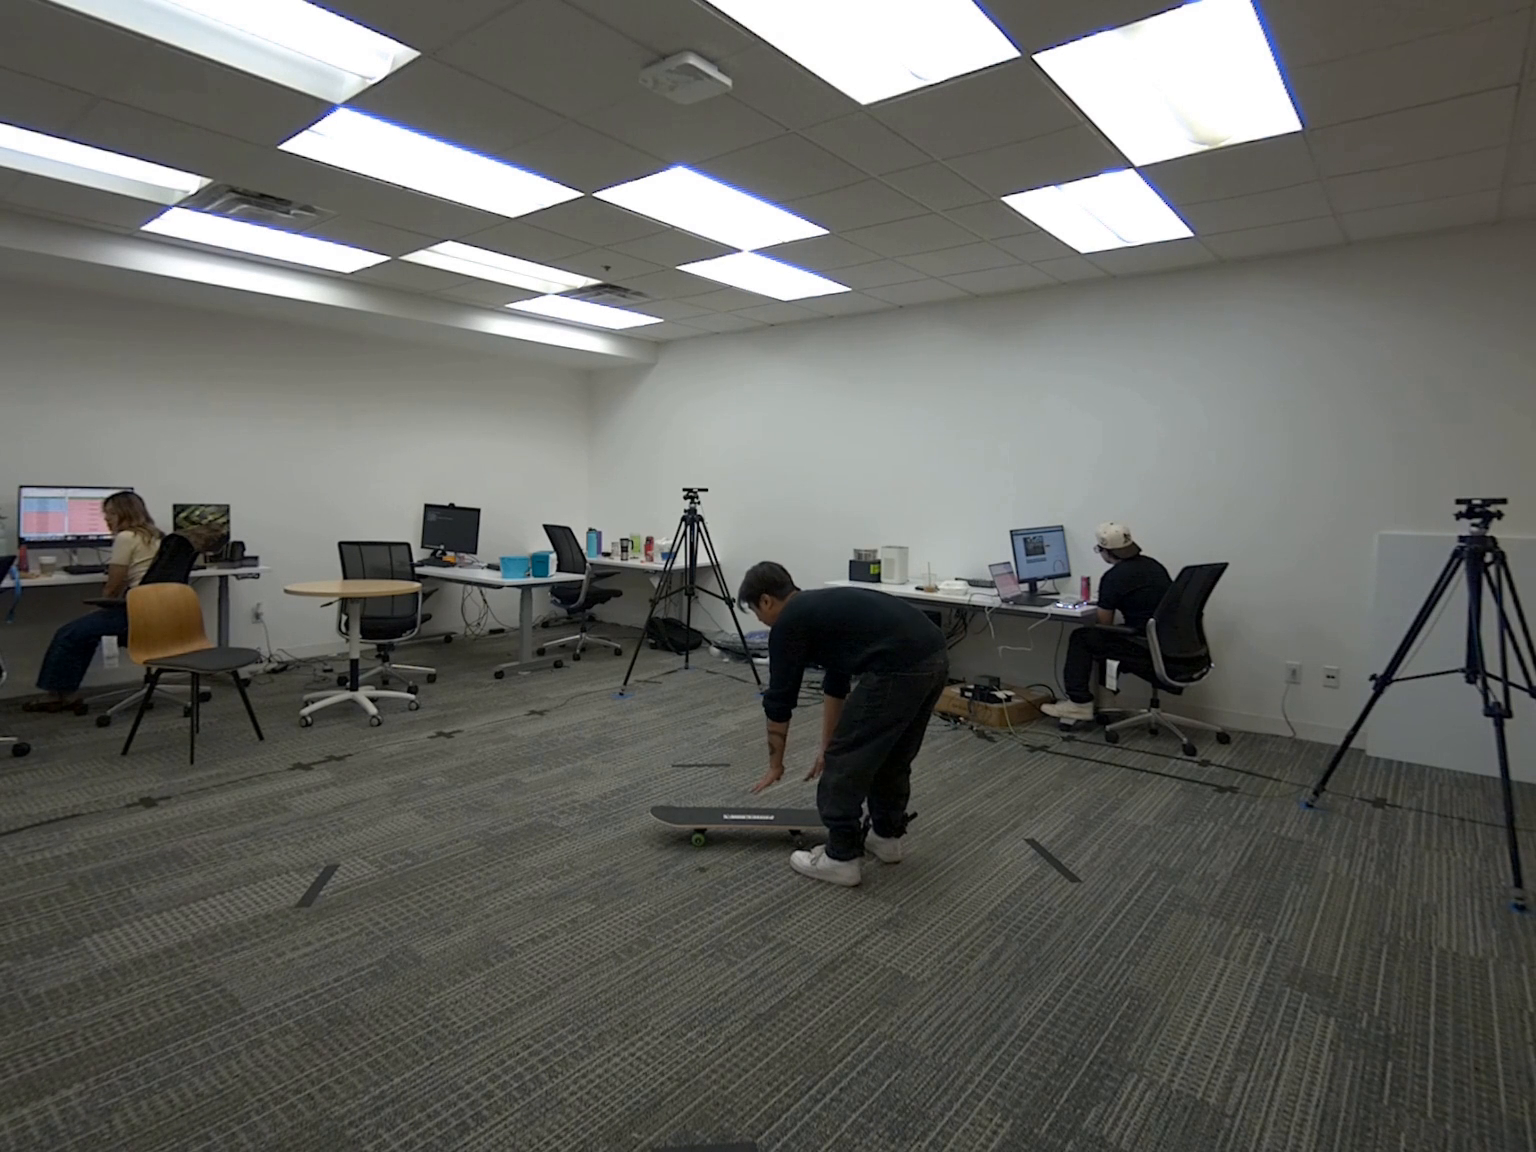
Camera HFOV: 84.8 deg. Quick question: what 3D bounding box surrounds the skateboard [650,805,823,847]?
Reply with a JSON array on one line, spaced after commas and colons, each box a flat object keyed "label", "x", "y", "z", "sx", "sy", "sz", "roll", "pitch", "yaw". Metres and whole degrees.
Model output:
[{"label": "skateboard", "x": -0.093, "y": 0.988, "z": 3.394, "sx": 0.783, "sy": 0.110, "sz": 0.194, "roll": 1, "pitch": 4, "yaw": -2}]
